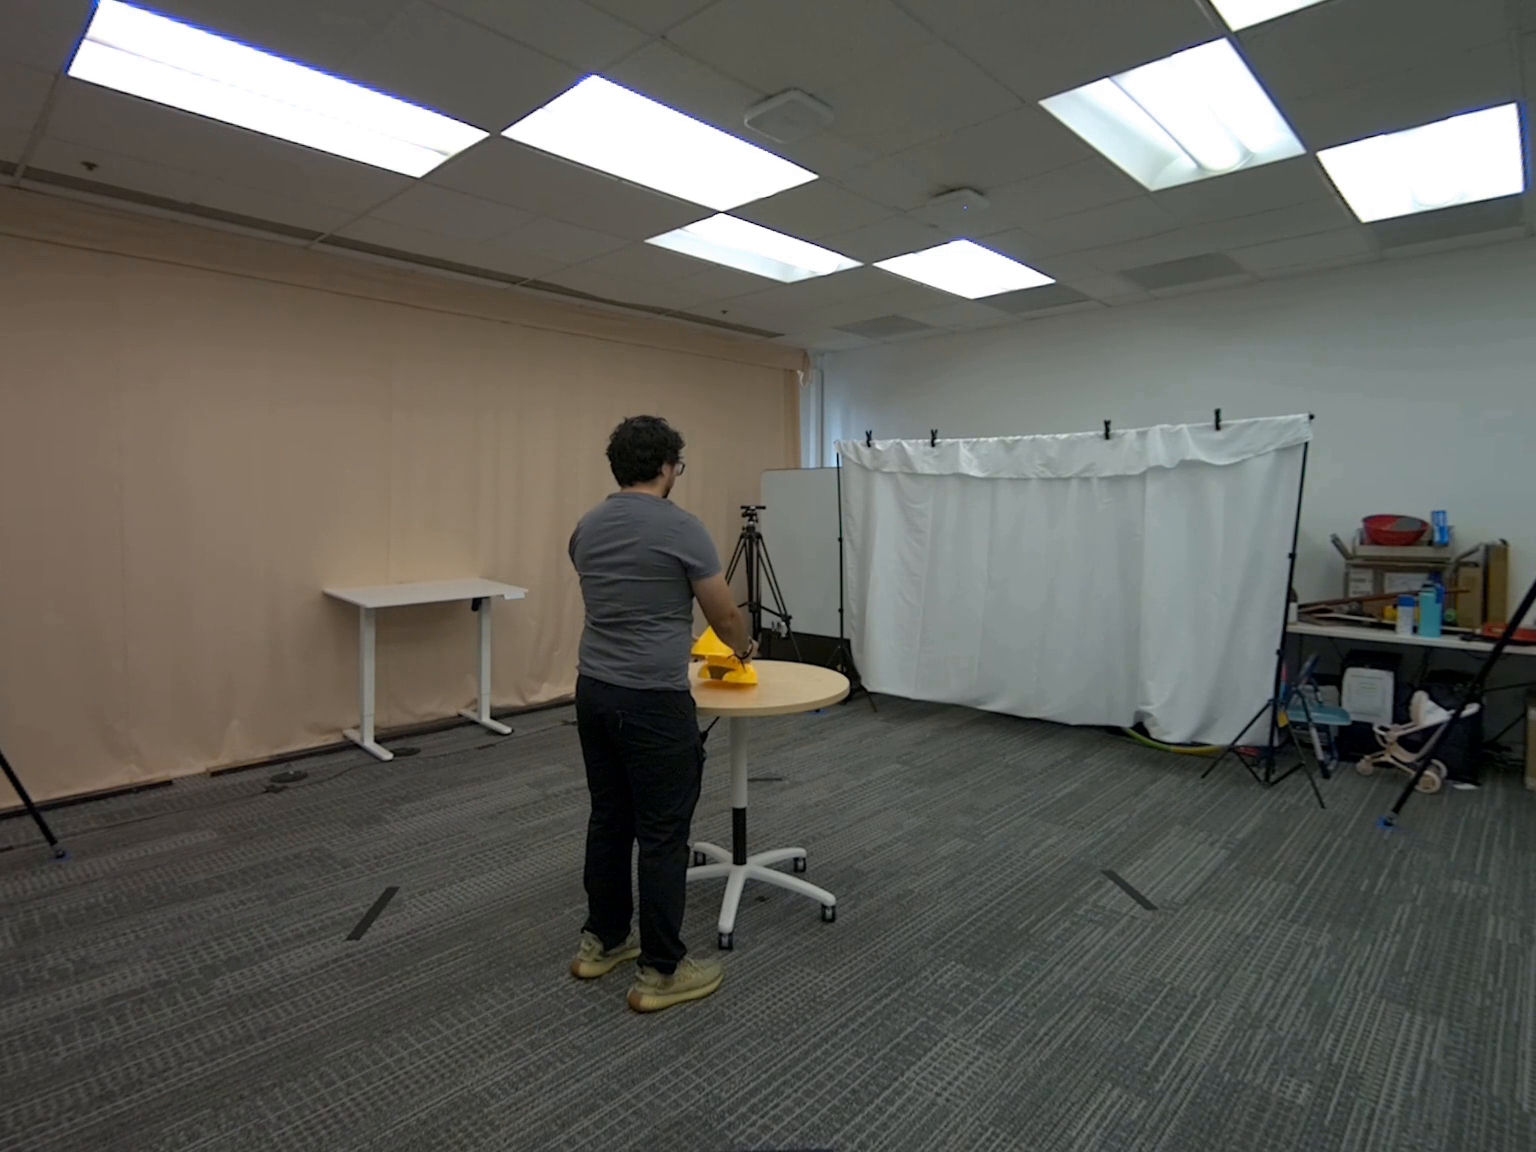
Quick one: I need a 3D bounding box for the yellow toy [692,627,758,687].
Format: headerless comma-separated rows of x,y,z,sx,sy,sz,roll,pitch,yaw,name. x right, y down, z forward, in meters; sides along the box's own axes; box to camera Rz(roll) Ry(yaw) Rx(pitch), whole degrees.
-0.126,0.236,2.859,0.210,0.231,0.187,1,-6,29,yellow toy
